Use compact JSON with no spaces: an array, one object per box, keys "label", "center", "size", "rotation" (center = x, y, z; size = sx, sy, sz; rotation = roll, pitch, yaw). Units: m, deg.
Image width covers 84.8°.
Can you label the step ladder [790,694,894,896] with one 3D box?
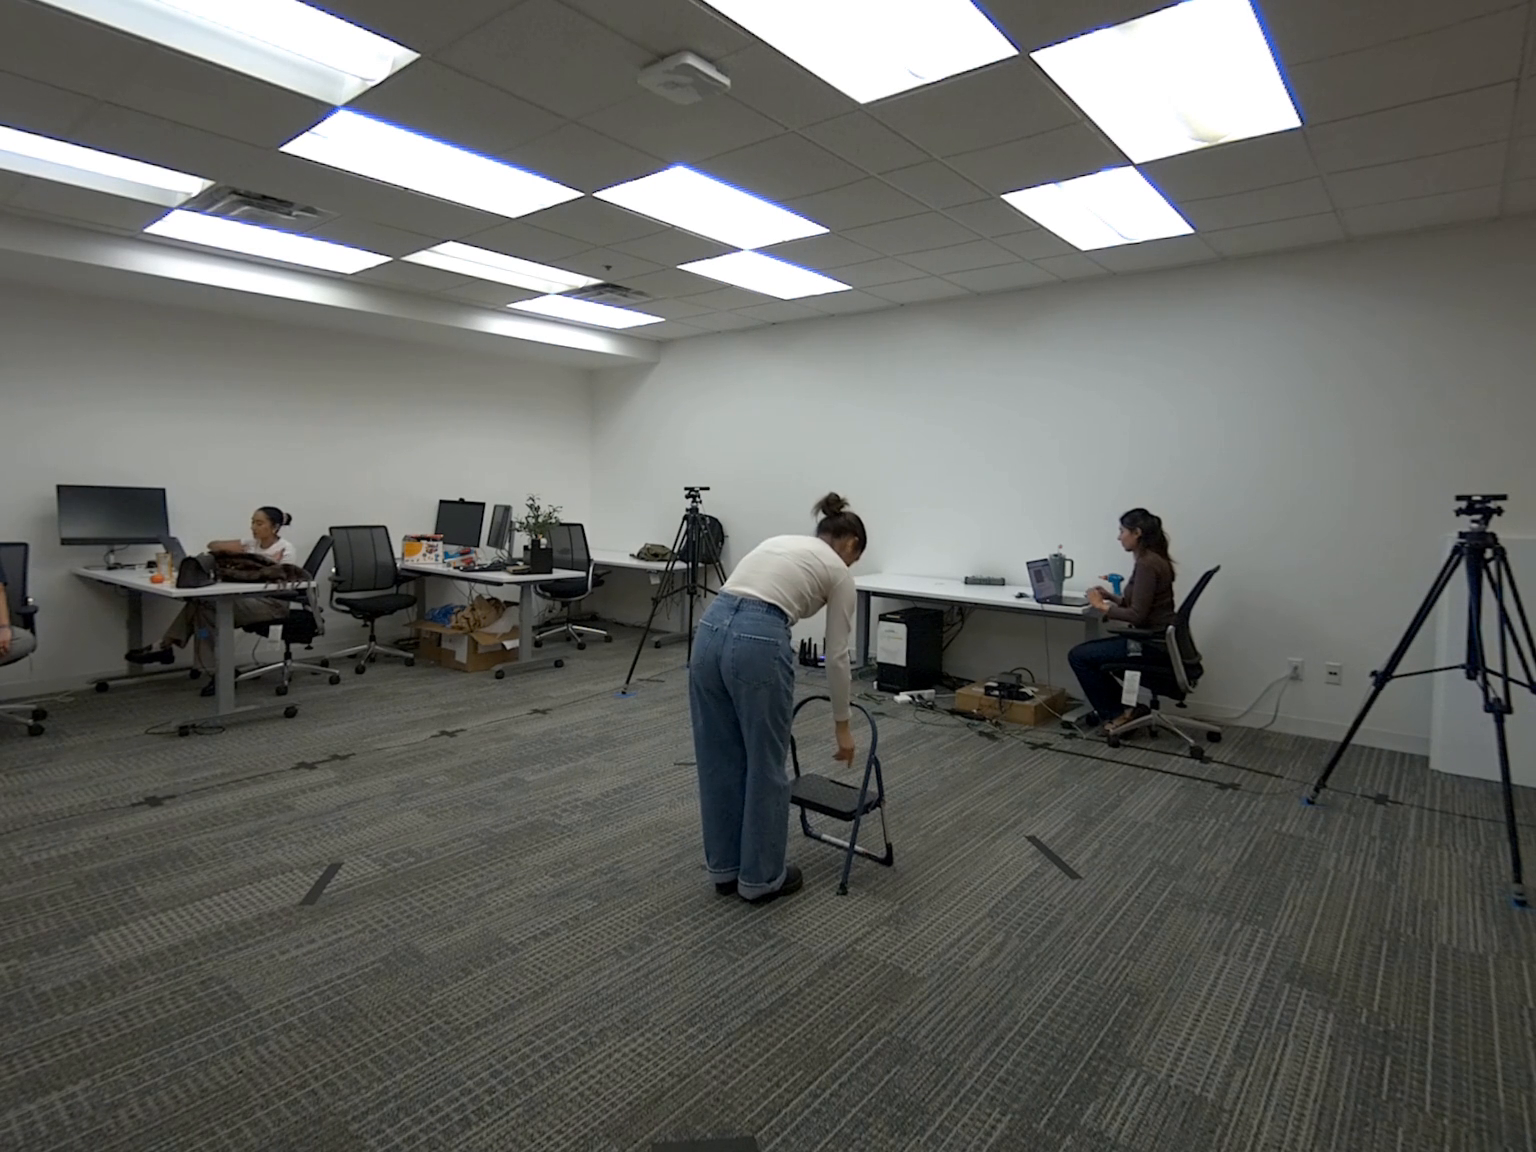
[{"label":"step ladder","center":[0.205,0.764,3.176],"size":[0.445,0.604,0.339],"rotation":[5,5,40]}]
